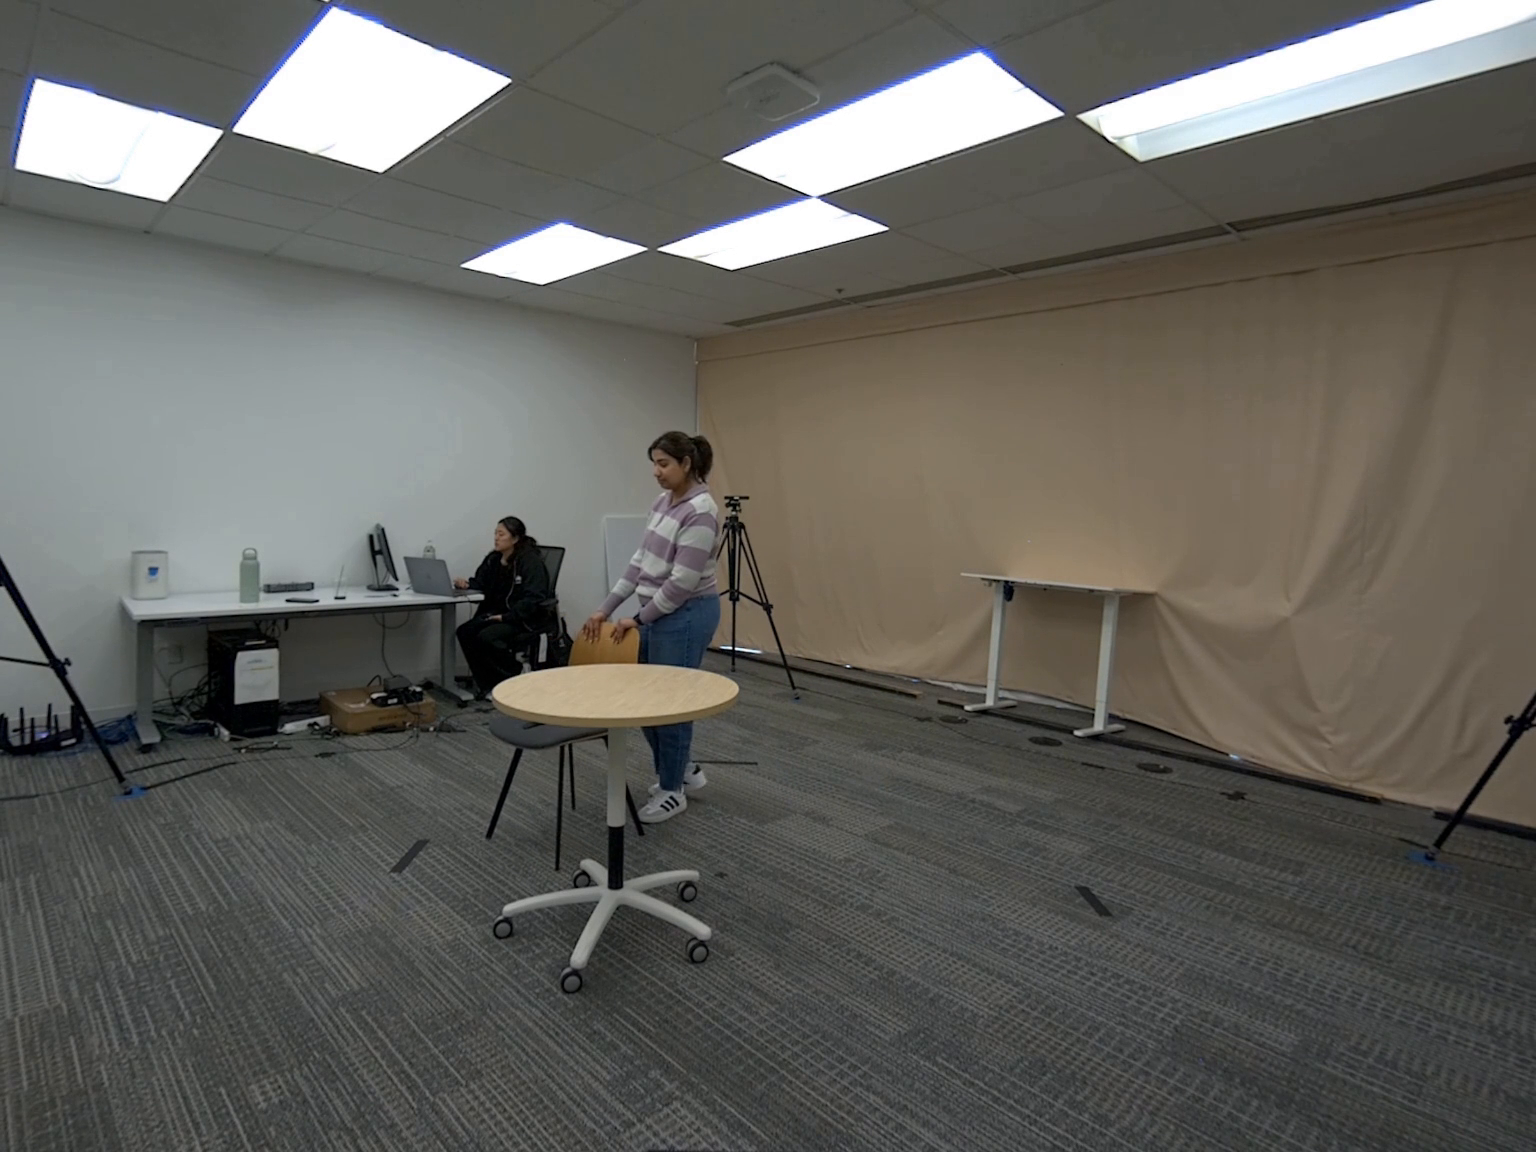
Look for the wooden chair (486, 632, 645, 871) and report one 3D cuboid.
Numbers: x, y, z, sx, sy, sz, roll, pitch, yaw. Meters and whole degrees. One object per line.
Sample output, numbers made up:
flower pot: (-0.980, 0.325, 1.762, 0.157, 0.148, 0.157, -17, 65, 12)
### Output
wooden chair: (-0.815, 0.635, 3.374, 0.490, 0.877, 0.510, 4, 0, 38)
